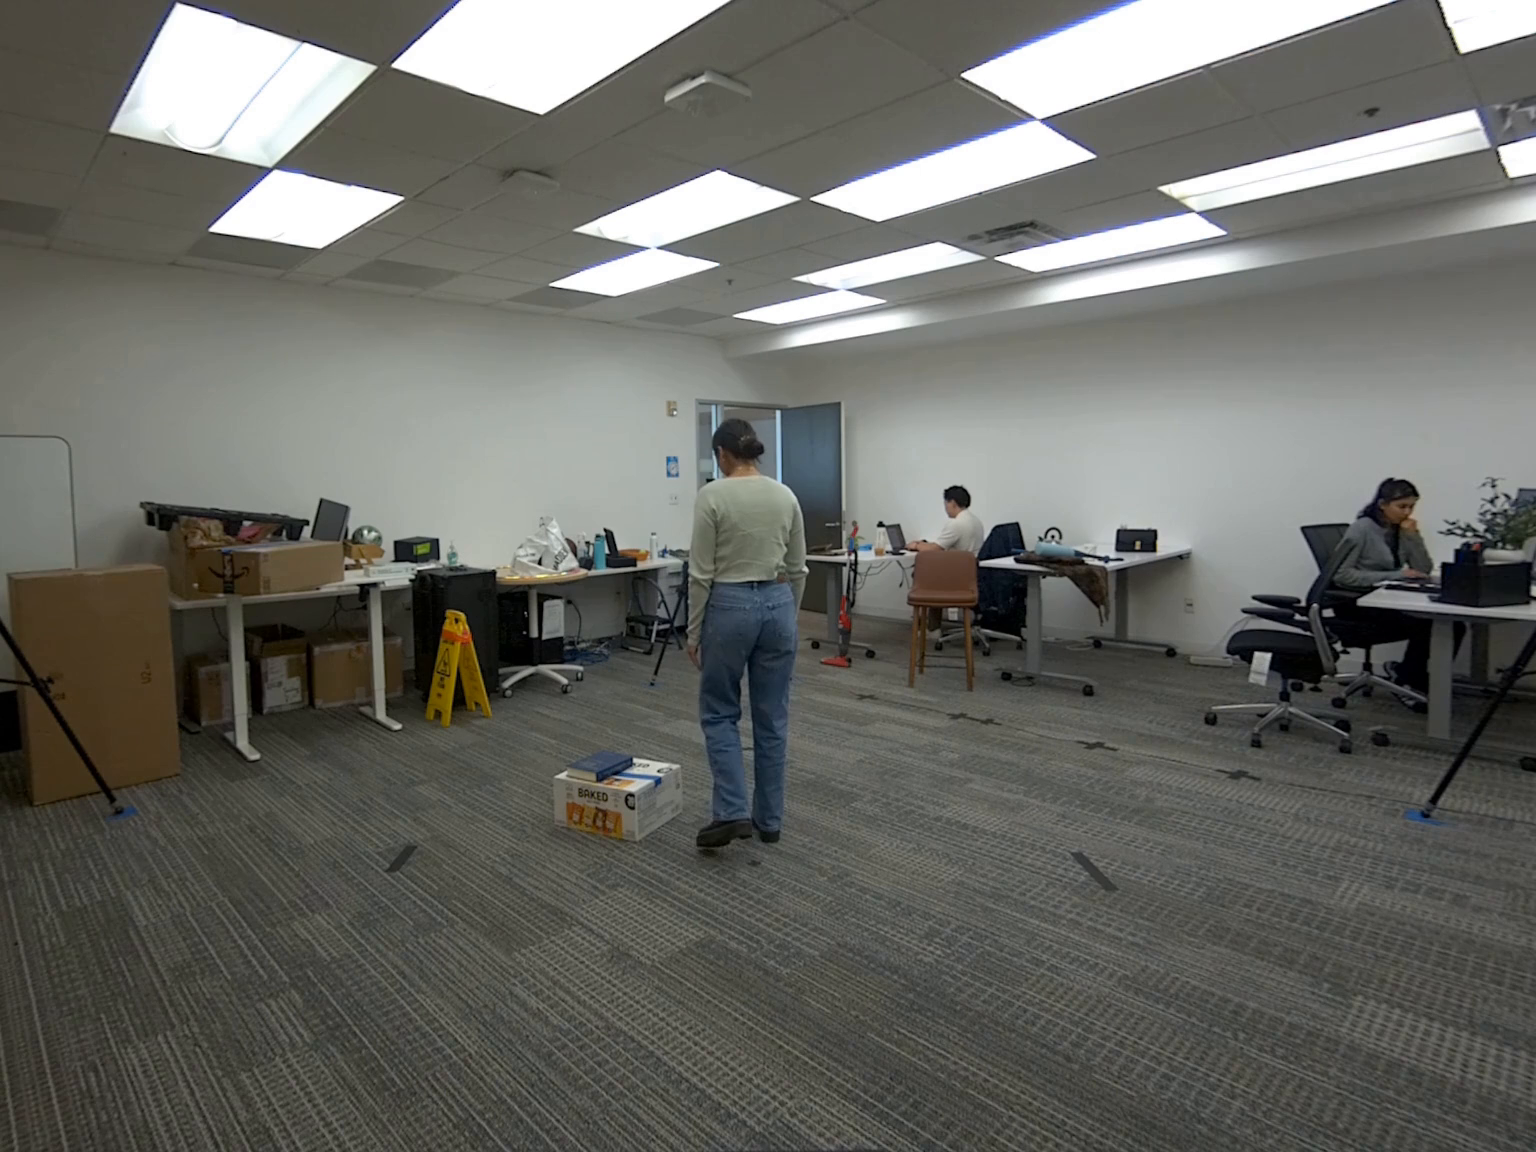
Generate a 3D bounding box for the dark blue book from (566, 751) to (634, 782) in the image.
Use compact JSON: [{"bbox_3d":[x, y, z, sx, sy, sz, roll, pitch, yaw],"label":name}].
[{"bbox_3d":[-0.695,0.783,3.547,0.168,0.045,0.240,2,7,29],"label":"dark blue book"}]
